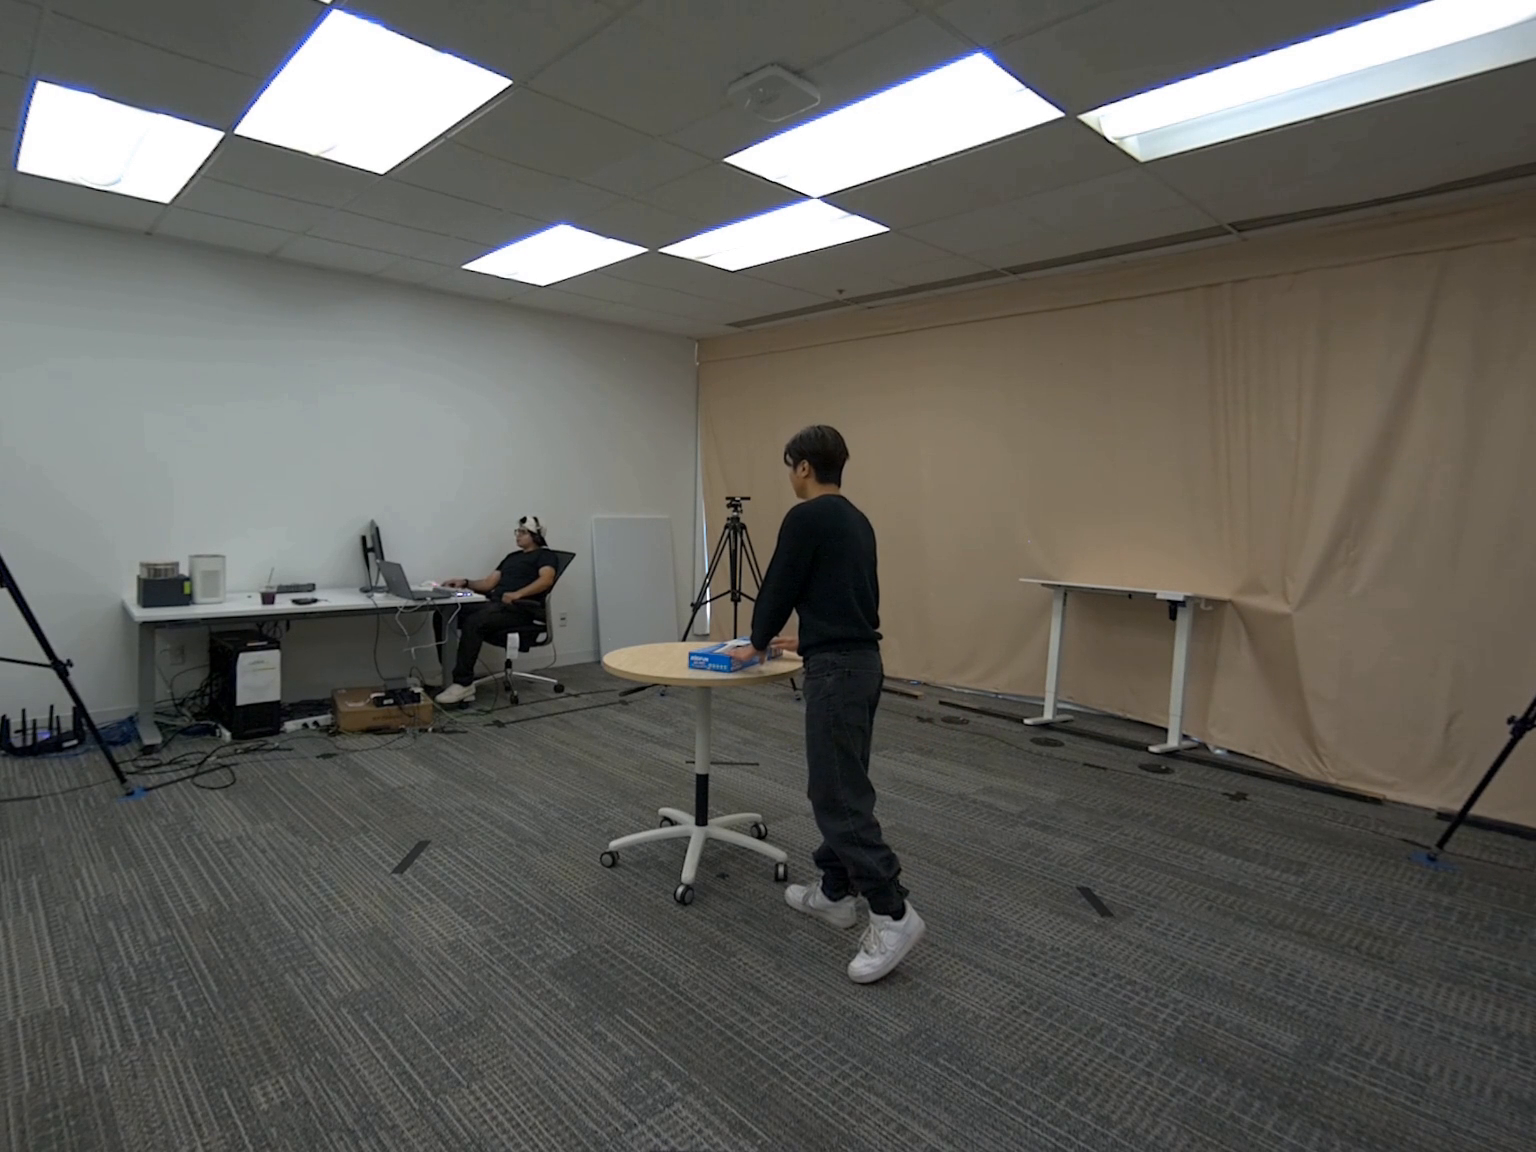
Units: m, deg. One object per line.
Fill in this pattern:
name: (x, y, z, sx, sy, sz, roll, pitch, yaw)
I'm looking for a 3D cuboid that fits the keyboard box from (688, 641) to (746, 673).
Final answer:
keyboard box: (-0.122, 0.287, 3.147, 0.179, 0.059, 0.429, 3, 5, 27)
